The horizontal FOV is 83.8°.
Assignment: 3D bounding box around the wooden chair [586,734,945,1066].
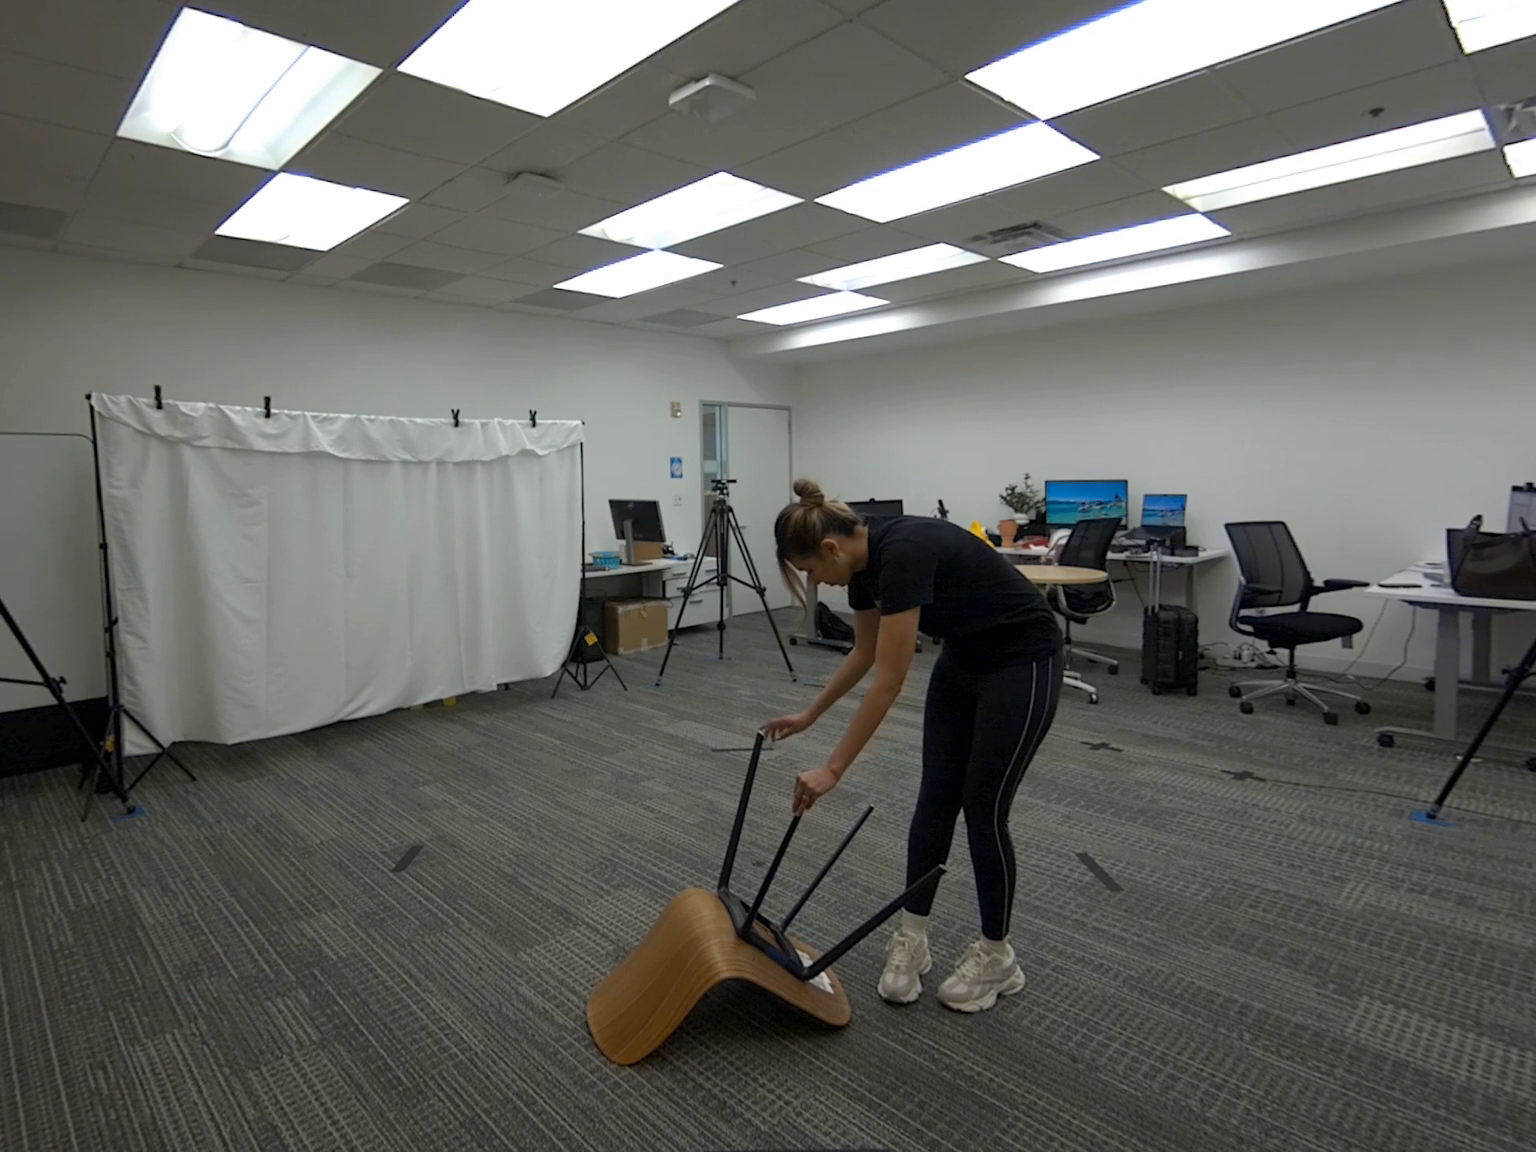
[{"bbox_3d":[-0.008,0.968,2.315,0.513,0.878,0.487,39,-6,-15],"label":"wooden chair"}]
